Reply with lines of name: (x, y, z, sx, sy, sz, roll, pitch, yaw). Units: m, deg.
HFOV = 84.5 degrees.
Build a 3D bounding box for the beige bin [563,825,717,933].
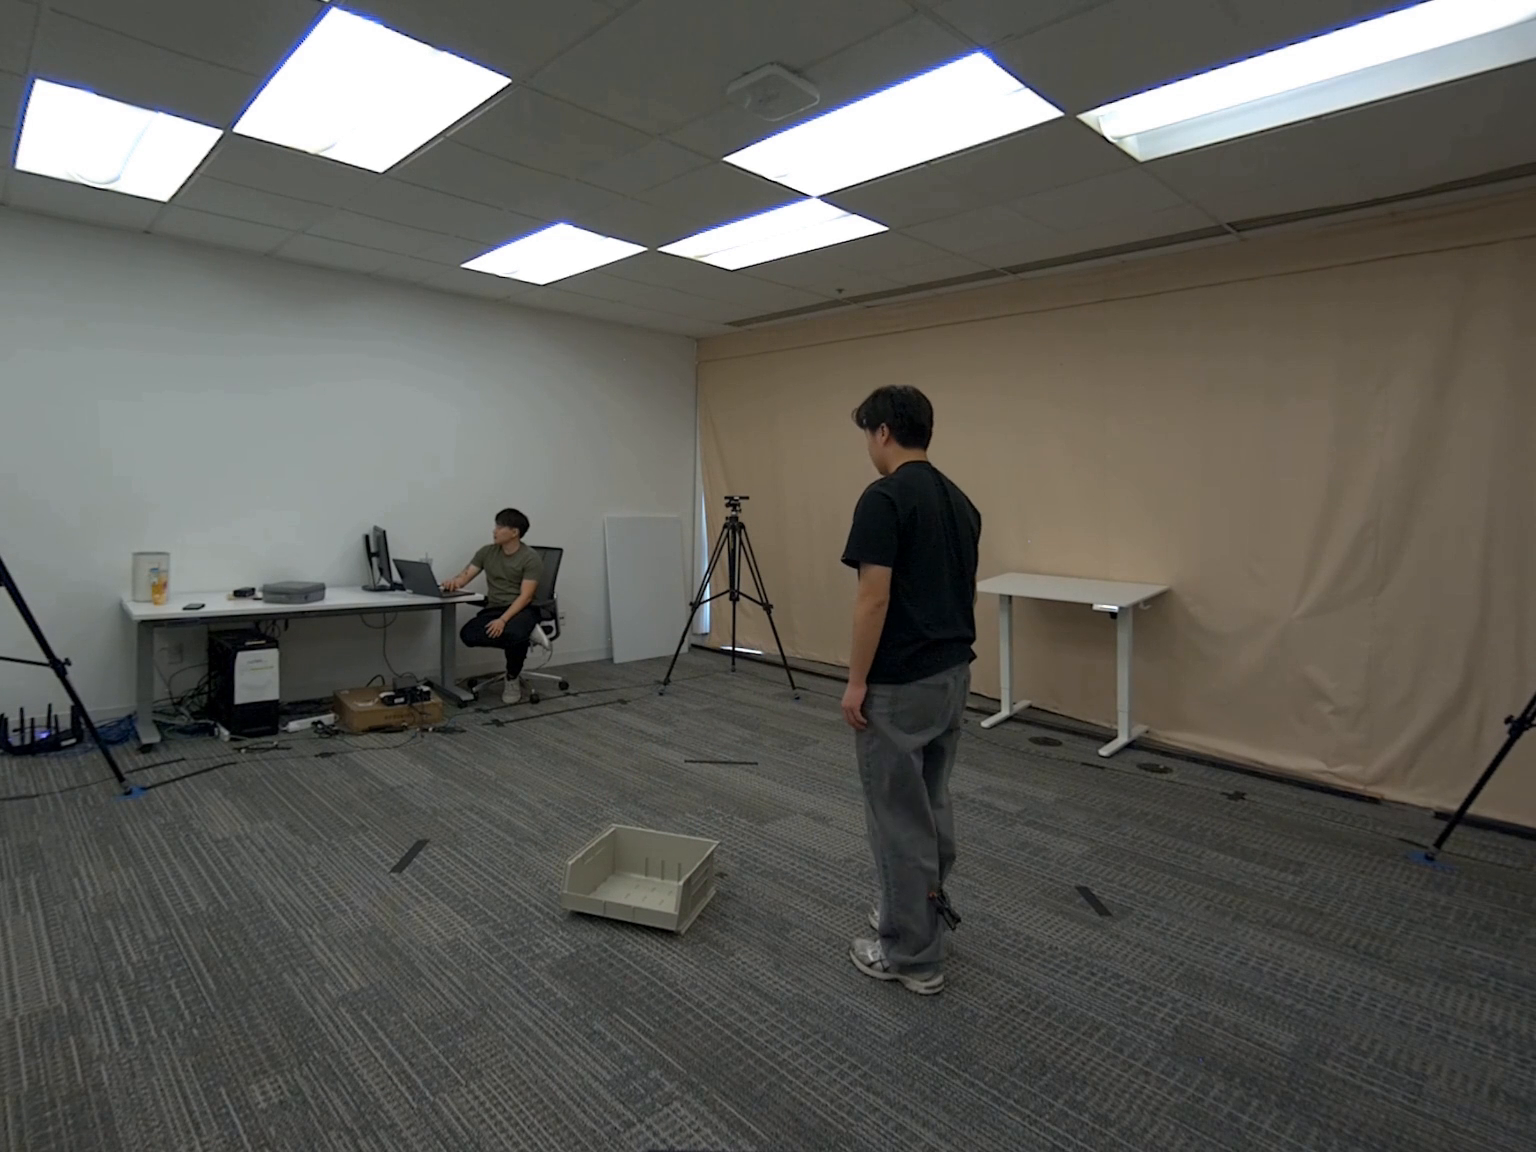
beige bin: (-0.430, 1.032, 2.859, 0.428, 0.188, 0.373, 3, 4, 17)
